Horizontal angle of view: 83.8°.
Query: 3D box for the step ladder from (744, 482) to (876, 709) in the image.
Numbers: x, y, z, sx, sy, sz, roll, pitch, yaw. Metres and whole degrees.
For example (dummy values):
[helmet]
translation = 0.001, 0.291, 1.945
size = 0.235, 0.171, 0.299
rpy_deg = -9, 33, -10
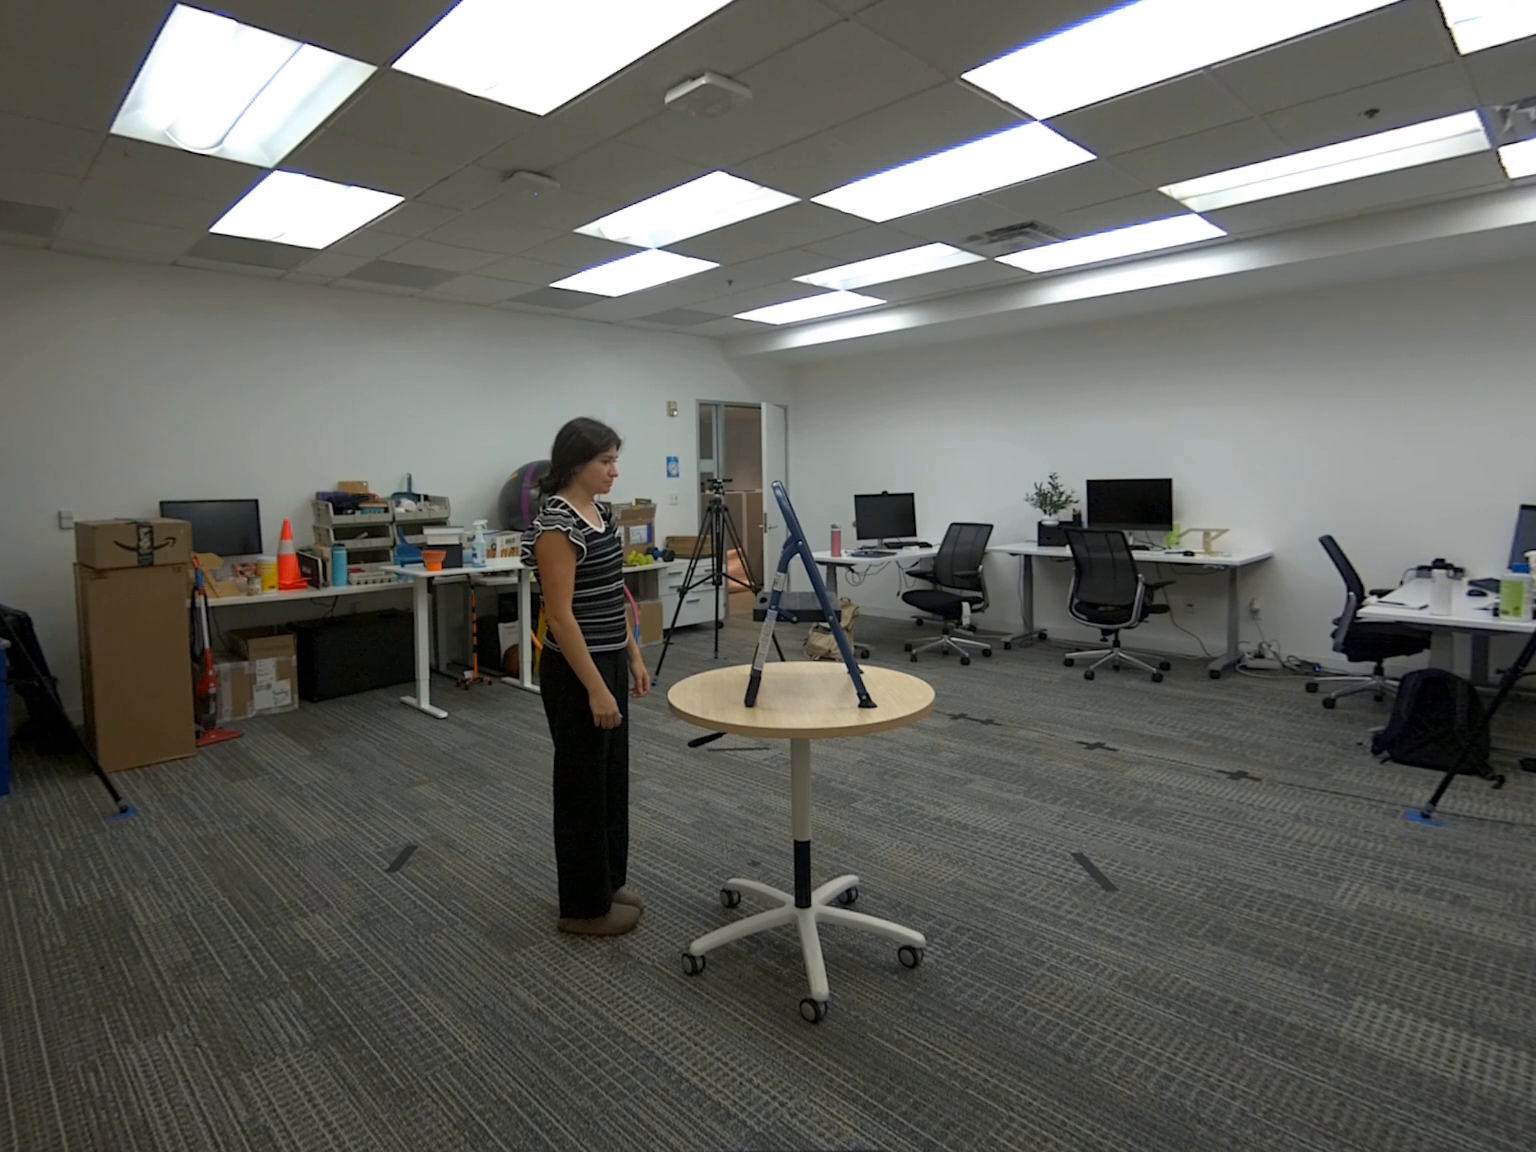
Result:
[step ladder]
translation = 0.113, 0.036, 2.472
size = 0.350, 0.606, 0.429
rpy_deg = -2, 1, 2
